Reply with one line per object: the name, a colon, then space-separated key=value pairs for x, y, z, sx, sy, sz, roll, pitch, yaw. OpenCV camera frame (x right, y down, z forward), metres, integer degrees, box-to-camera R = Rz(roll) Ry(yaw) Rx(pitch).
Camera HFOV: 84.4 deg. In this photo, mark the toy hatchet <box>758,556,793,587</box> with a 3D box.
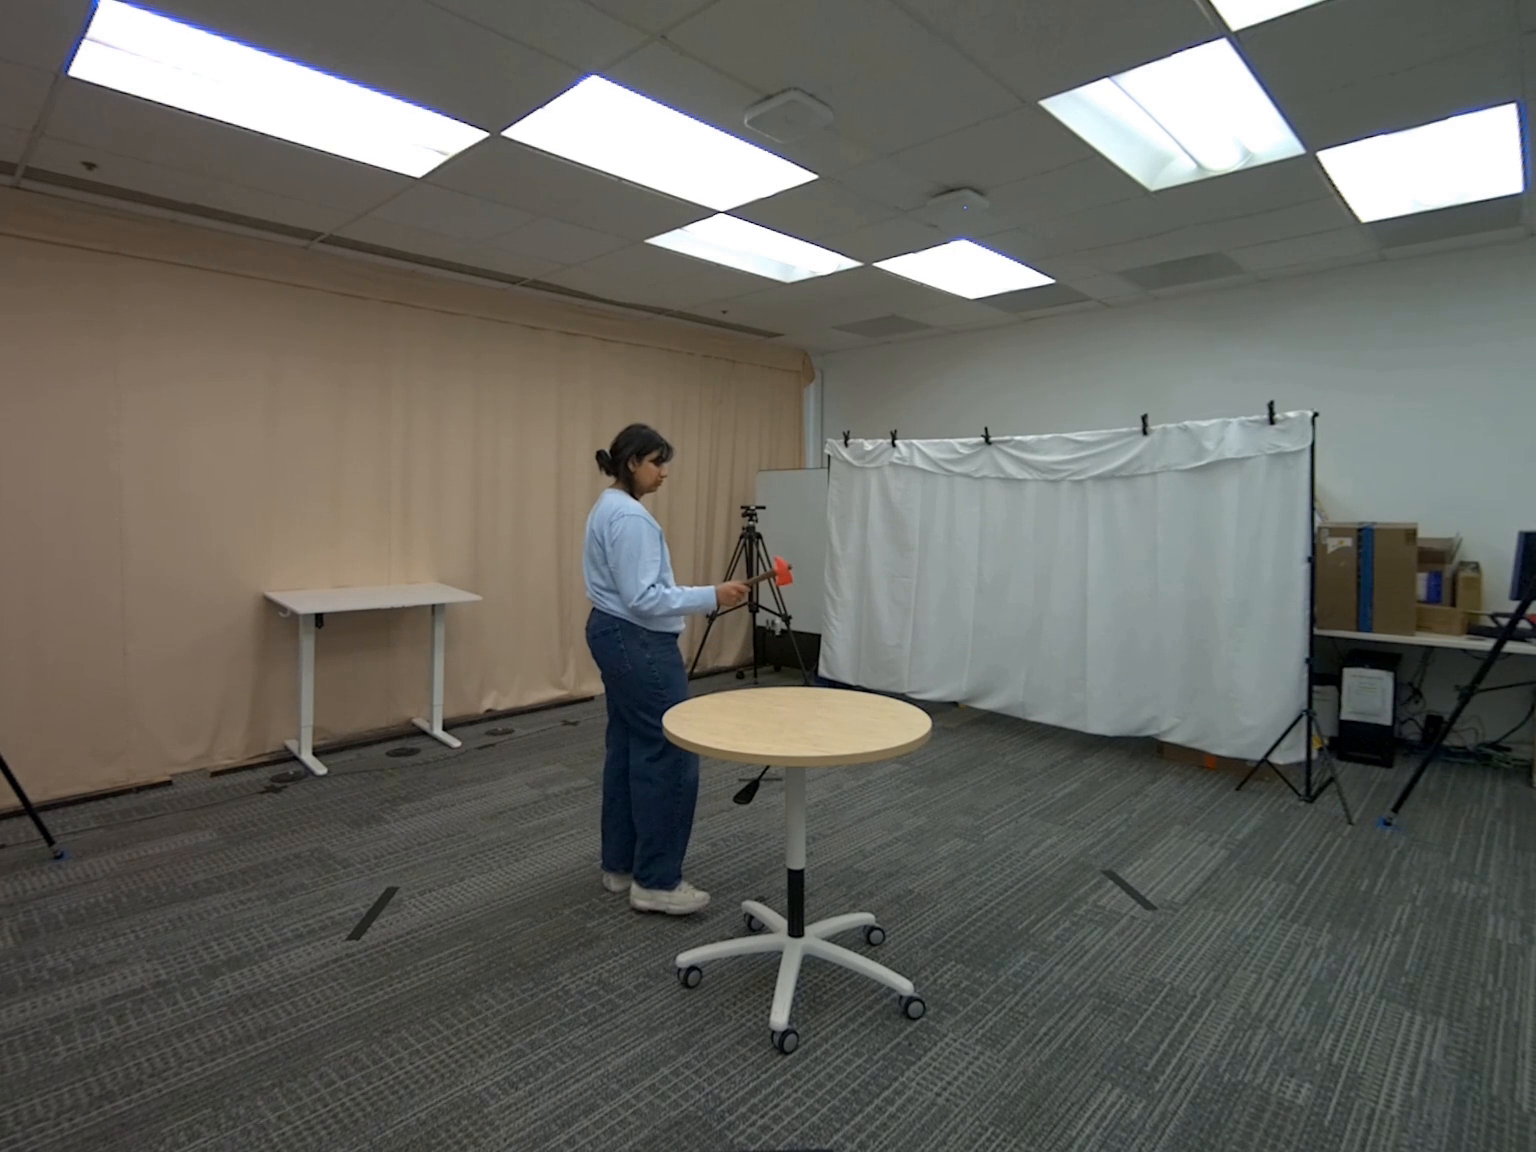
toy hatchet: x=-0.023 y=0.044 z=2.823 sx=0.272 sy=0.030 sz=0.127 roll=-38 pitch=-54 yaw=21
